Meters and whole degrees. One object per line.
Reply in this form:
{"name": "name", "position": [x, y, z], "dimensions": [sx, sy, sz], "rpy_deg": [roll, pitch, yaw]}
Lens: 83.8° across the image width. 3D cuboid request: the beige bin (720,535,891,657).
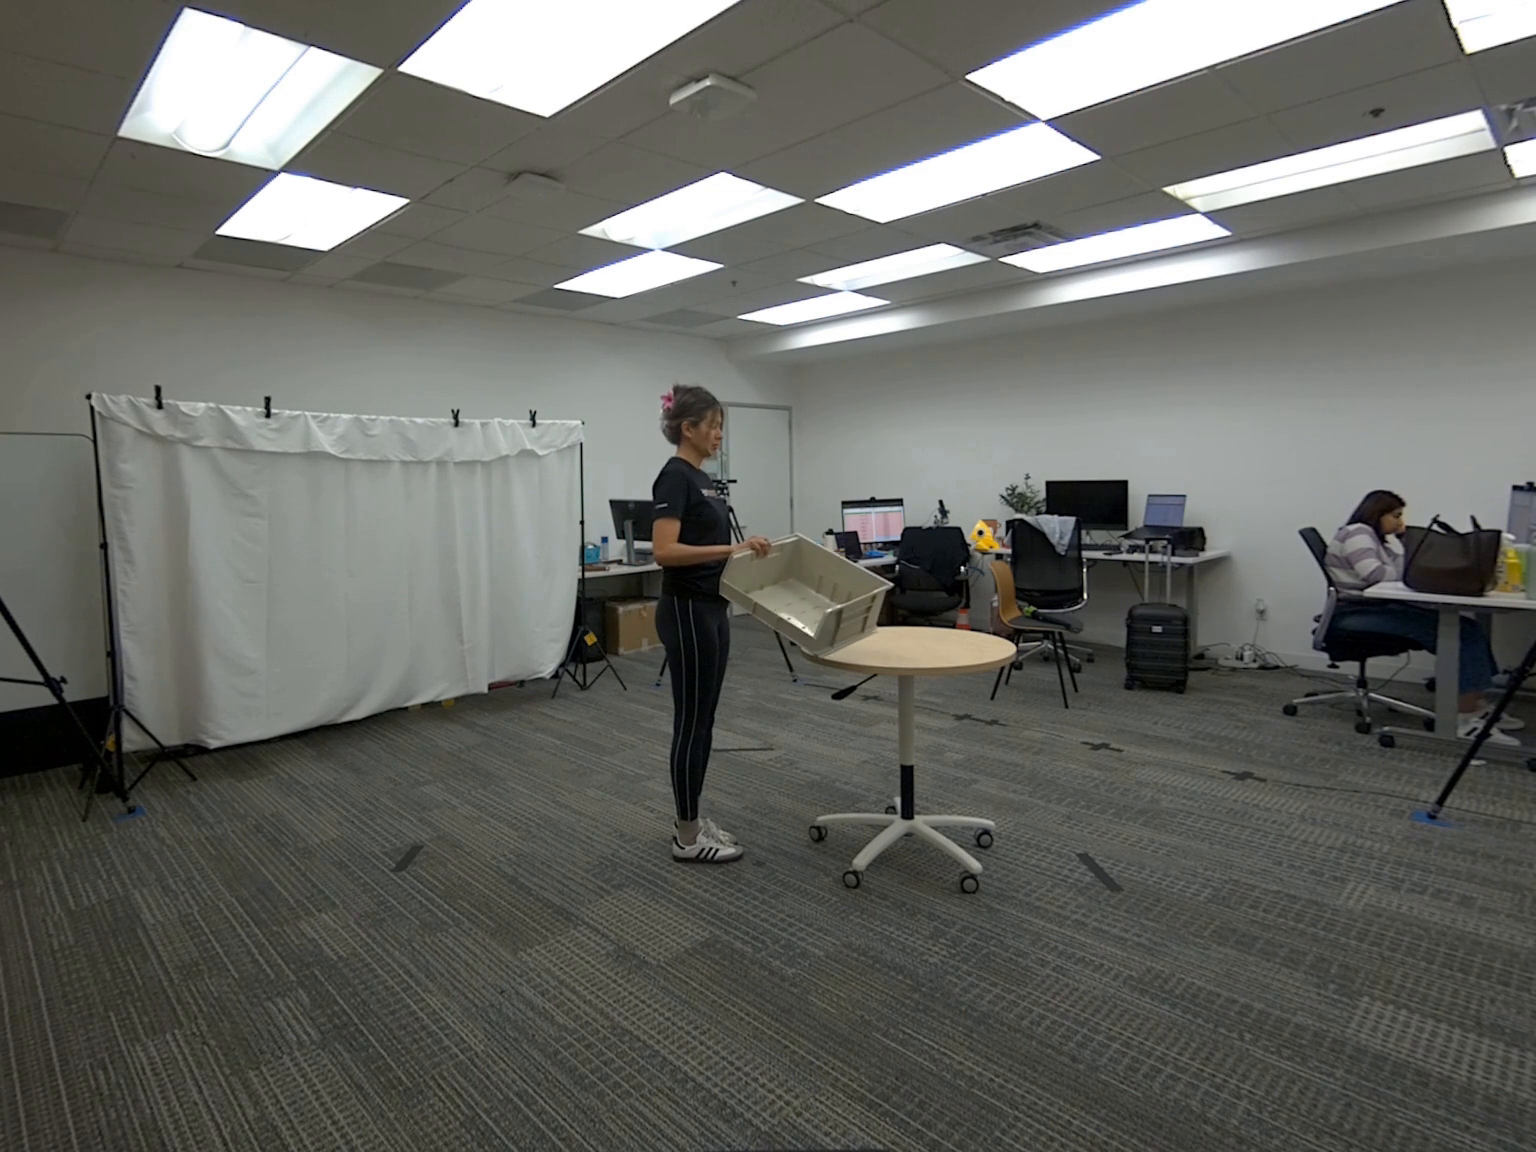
{"name": "beige bin", "position": [0.120, 0.061, 2.822], "dimensions": [0.438, 0.186, 0.370], "rpy_deg": [29, 31, 35]}
